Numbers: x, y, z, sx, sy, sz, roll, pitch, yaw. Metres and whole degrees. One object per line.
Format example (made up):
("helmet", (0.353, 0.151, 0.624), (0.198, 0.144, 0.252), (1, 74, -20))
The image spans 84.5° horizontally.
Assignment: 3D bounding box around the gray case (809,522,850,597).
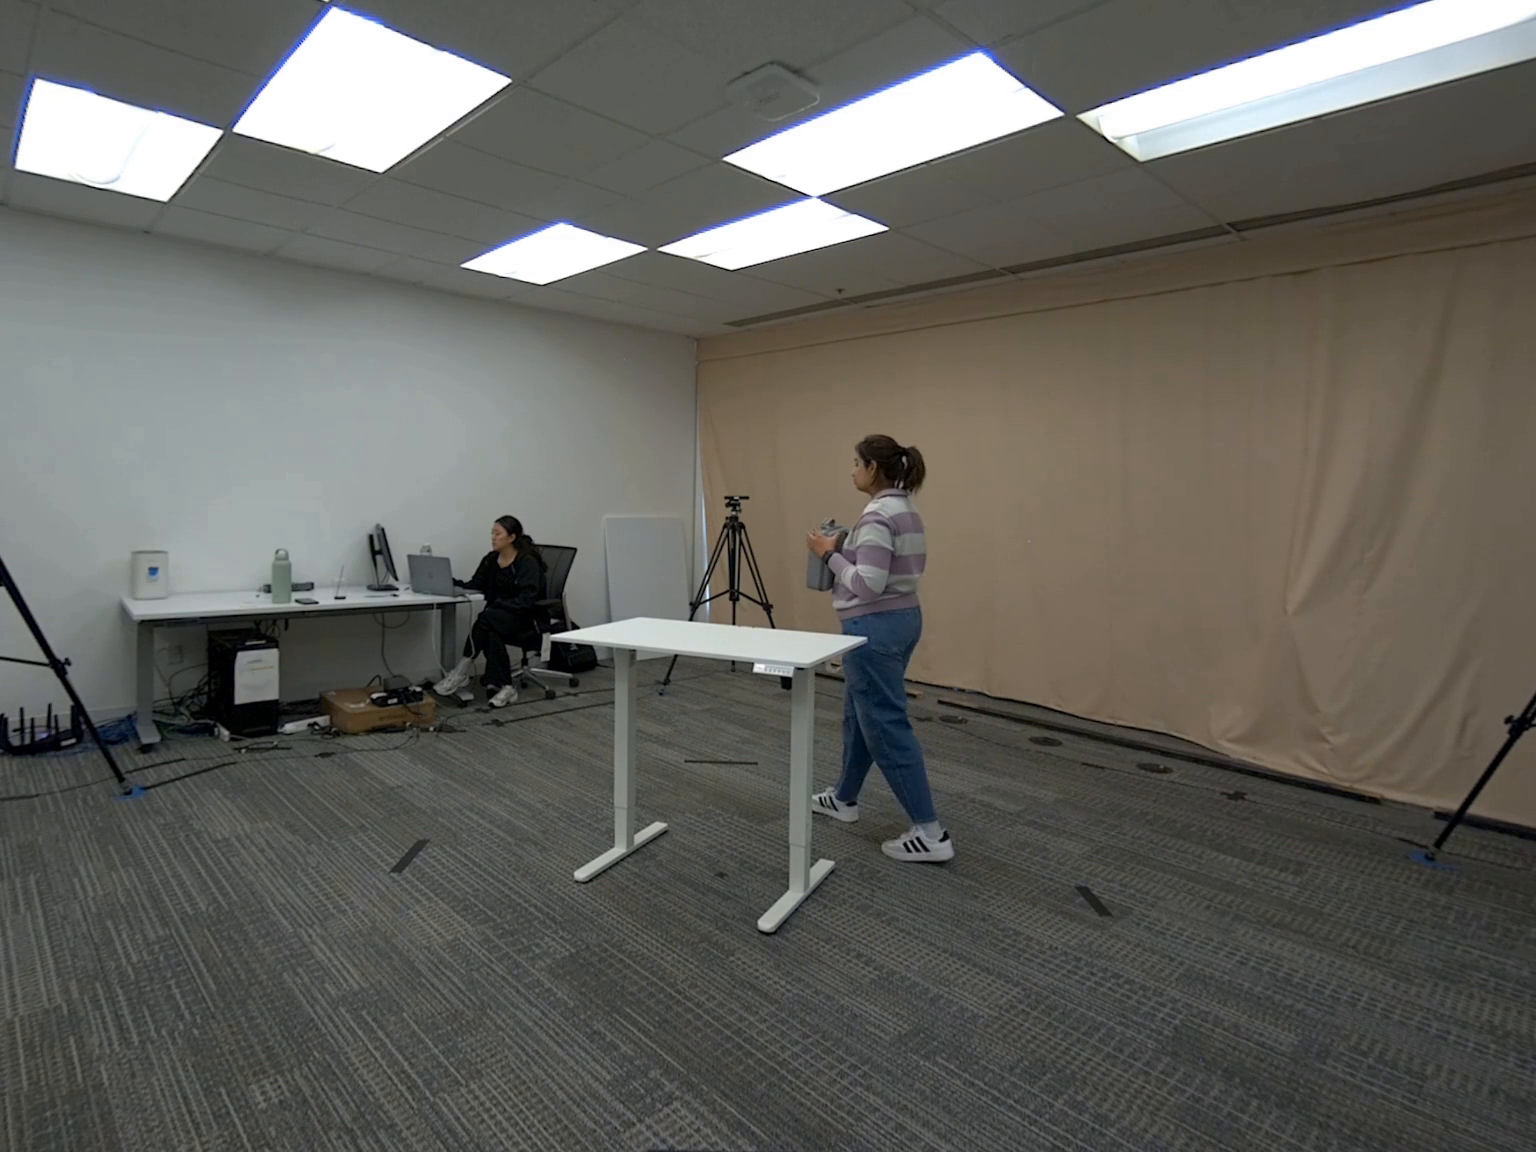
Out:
("gray case", (0.259, -0.076, 3.556), (0.106, 0.259, 0.255), (6, 11, 15))
